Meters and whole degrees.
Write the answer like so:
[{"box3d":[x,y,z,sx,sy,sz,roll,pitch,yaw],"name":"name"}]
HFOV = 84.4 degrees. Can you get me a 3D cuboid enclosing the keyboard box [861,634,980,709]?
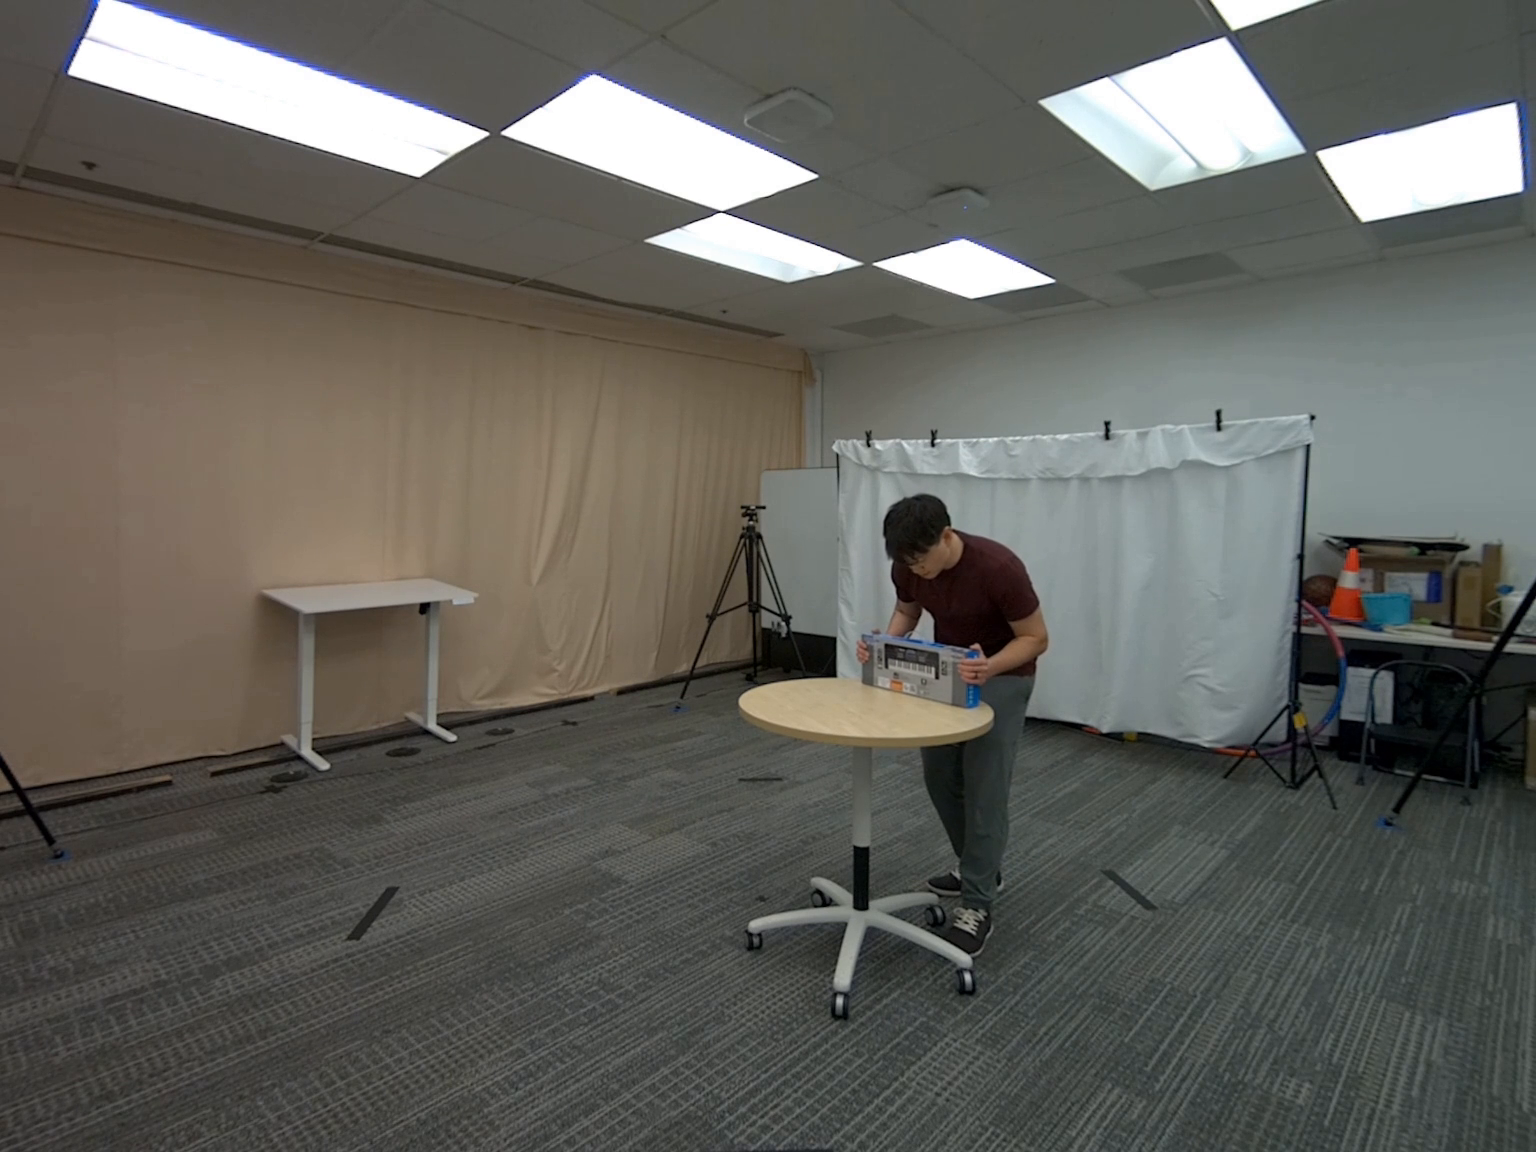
[{"box3d":[0.487,0.304,2.715,0.057,0.175,0.451,-4,7,-38],"name":"keyboard box"}]
